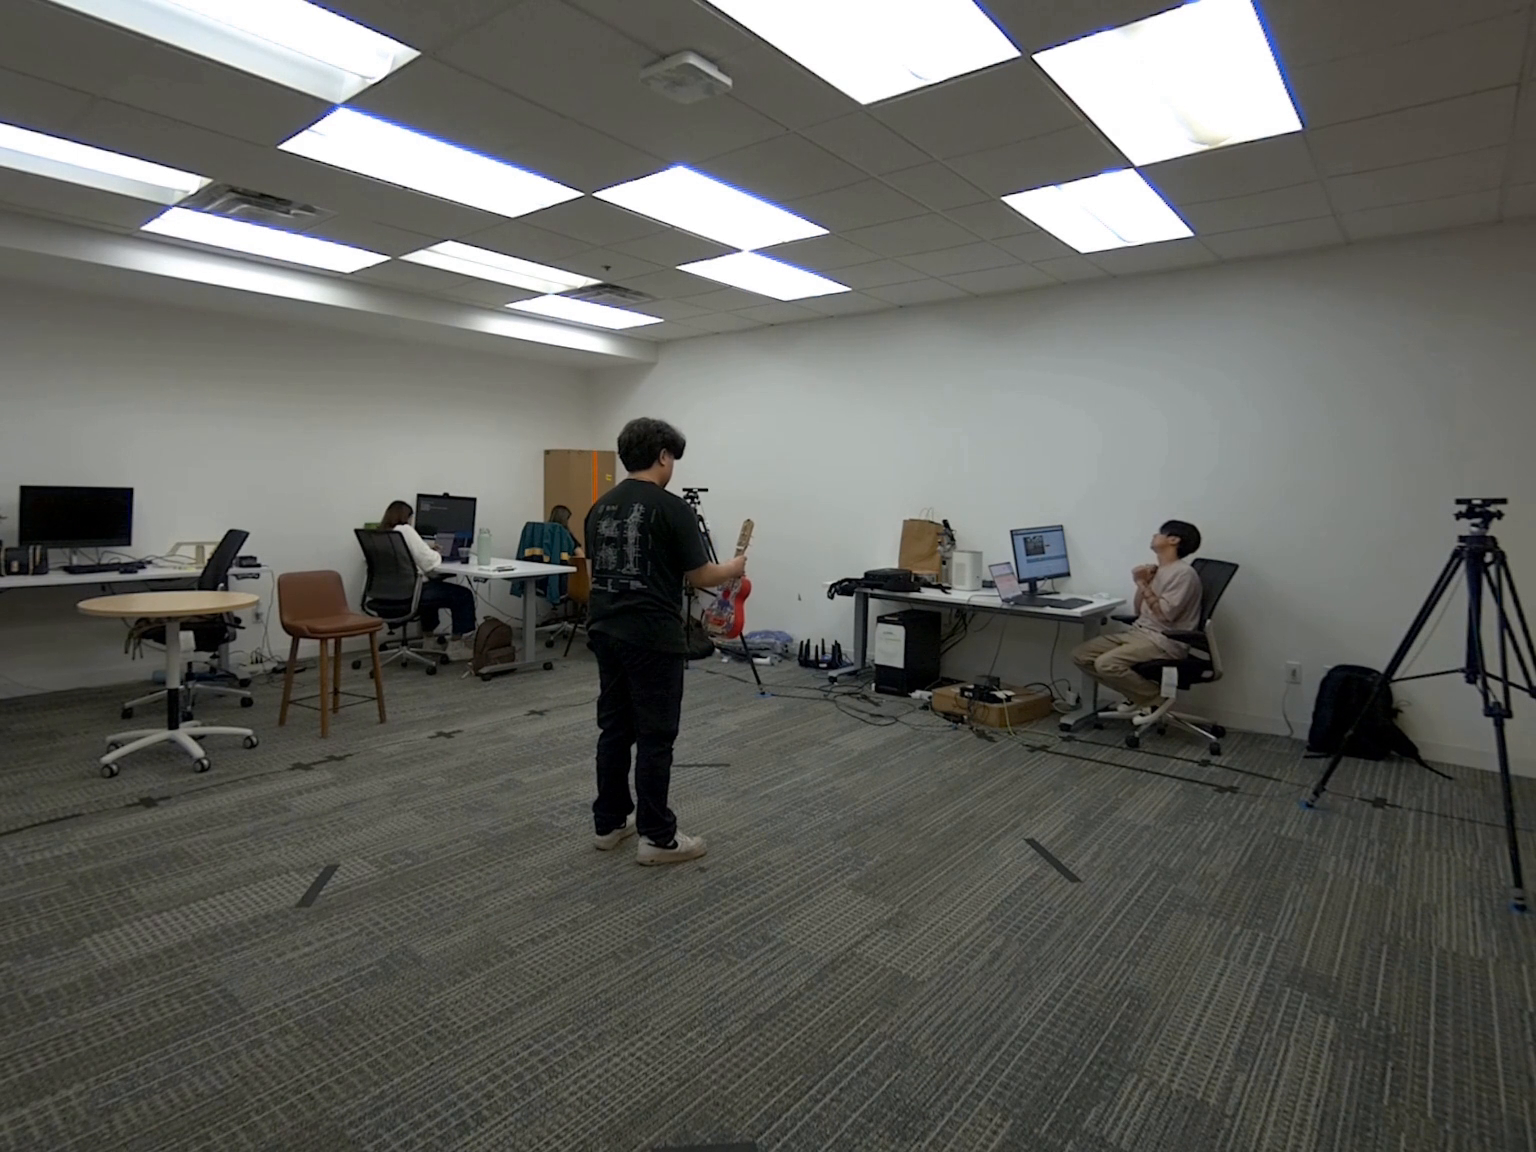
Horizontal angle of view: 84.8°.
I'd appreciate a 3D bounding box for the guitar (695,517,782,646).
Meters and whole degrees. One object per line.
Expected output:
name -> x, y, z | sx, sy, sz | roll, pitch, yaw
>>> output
guitar -> -0.127, 0.017, 3.486 | 0.068, 0.498, 0.200 | 24, -3, -40
